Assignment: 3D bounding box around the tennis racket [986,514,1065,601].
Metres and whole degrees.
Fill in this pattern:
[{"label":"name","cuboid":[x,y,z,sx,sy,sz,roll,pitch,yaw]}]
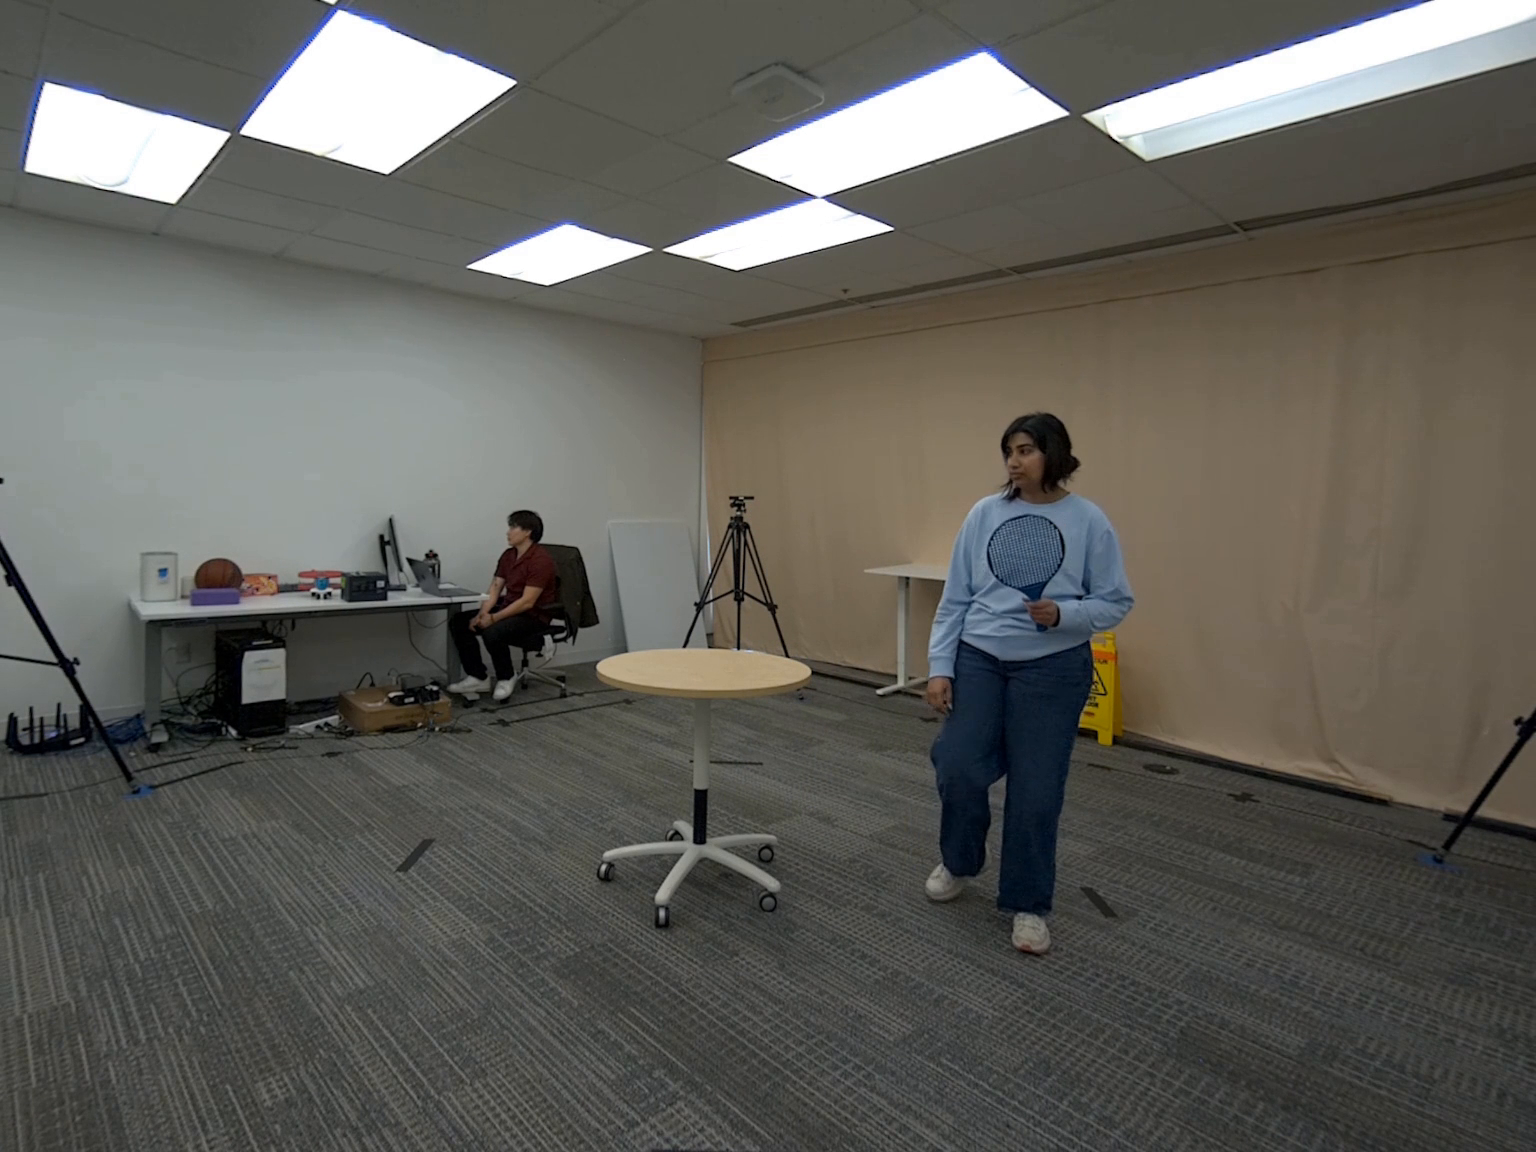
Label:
[{"label":"tennis racket","cuboid":[0.738,-0.007,2.432,0.215,0.421,0.032,-17,34,11]}]
